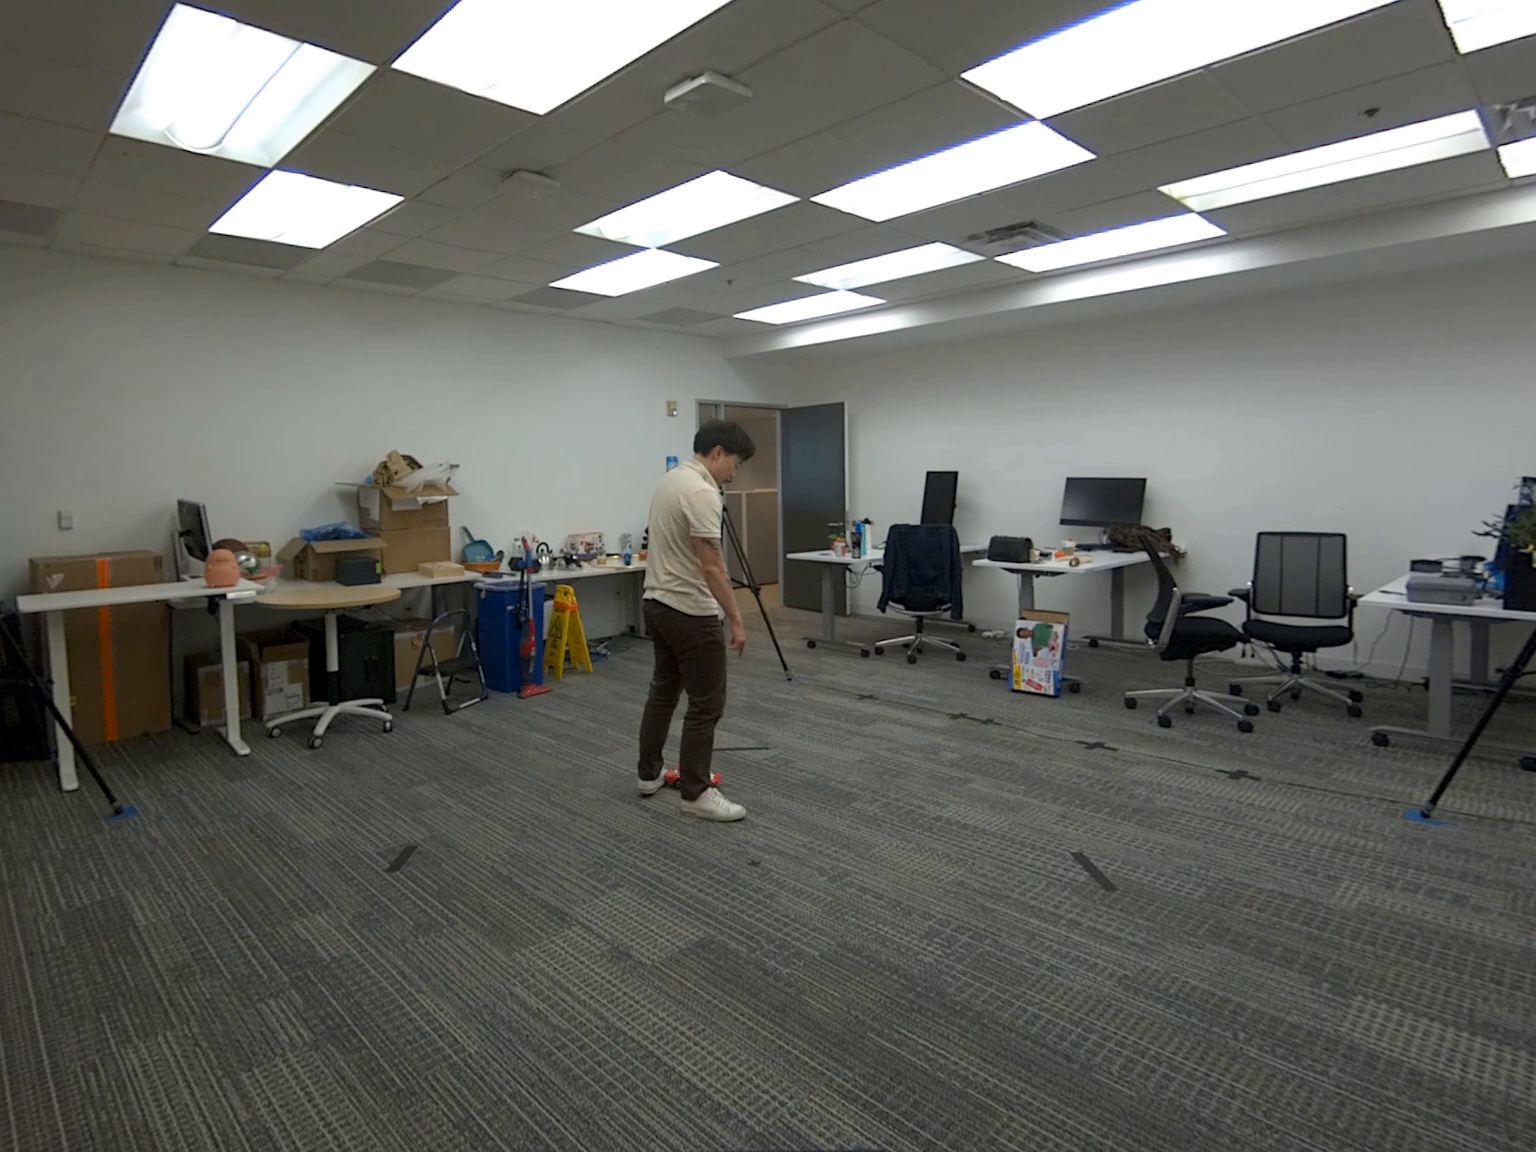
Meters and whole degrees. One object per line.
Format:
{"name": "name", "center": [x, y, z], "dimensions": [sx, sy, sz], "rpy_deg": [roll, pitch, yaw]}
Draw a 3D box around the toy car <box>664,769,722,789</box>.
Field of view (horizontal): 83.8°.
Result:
{"name": "toy car", "center": [-0.343, 0.927, 3.904], "dimensions": [0.258, 0.083, 0.129], "rpy_deg": [11, 7, 10]}
